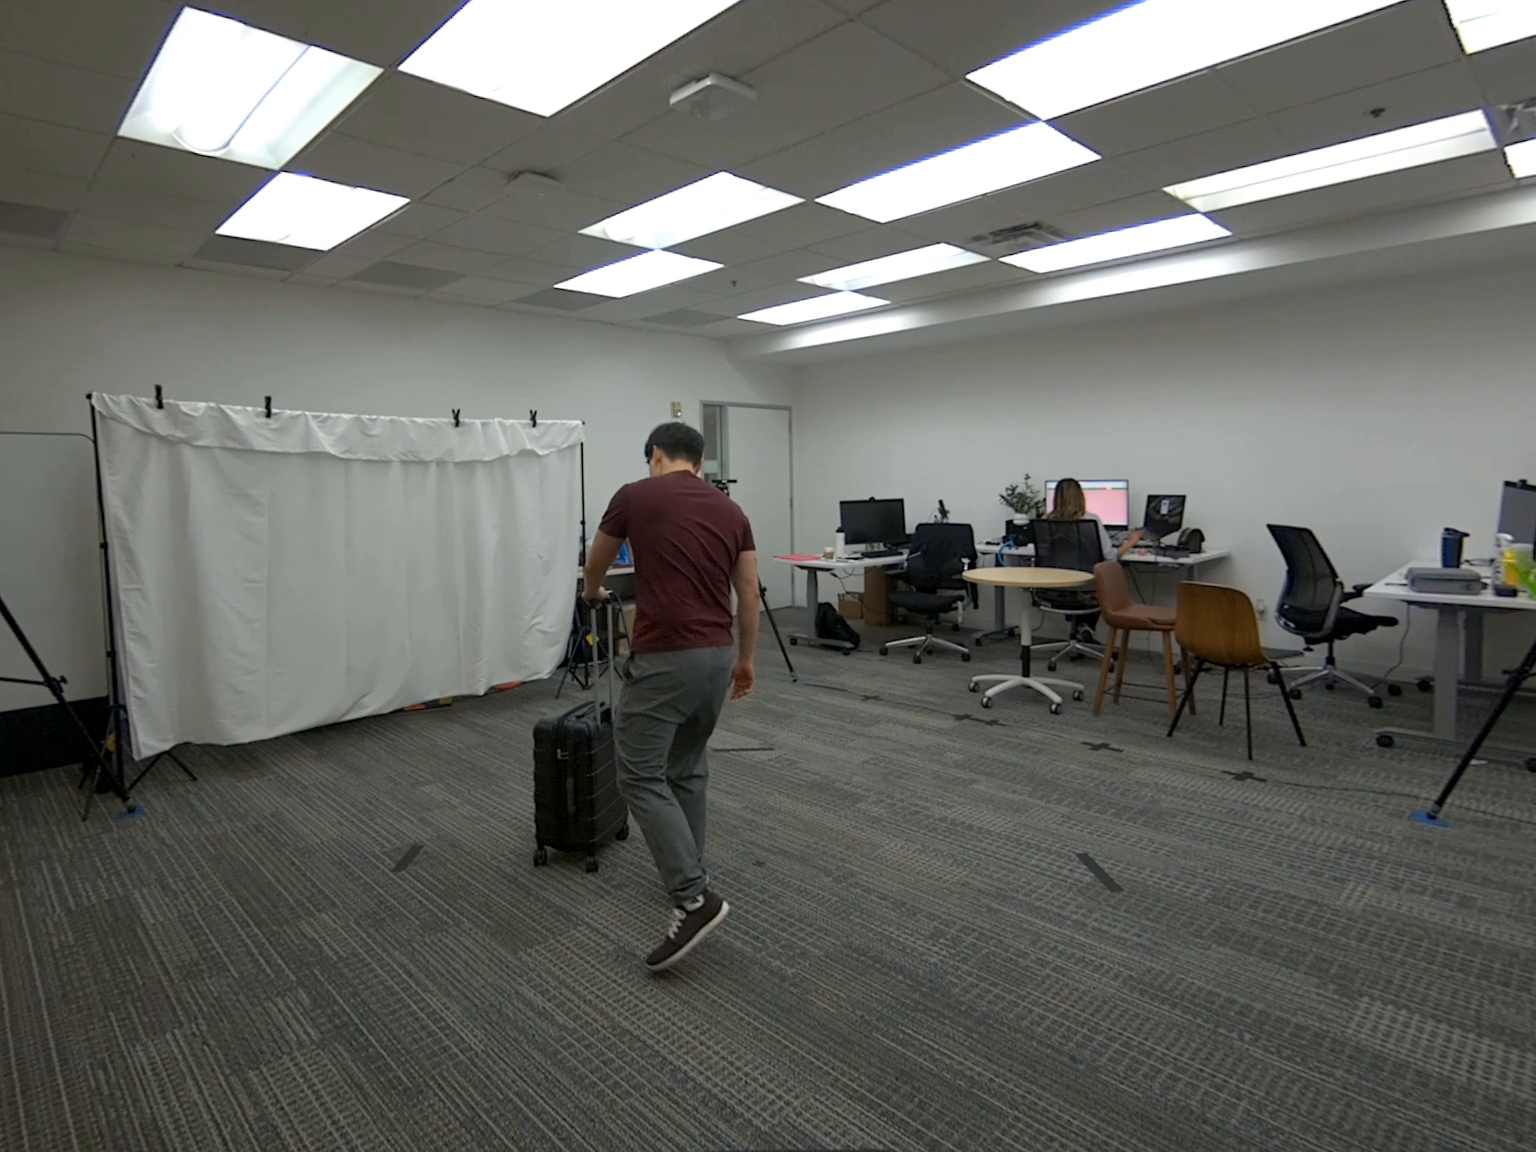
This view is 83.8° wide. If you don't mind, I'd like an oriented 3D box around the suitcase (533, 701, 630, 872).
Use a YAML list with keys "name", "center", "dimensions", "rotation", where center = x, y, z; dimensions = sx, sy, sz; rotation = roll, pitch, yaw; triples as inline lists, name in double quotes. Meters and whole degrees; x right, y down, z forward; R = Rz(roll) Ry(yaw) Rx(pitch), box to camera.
- name: "suitcase"
  center: [-0.715, 0.569, 3.246]
  dimensions: [0.261, 0.977, 0.379]
  rotation: [-2, 2, 14]
